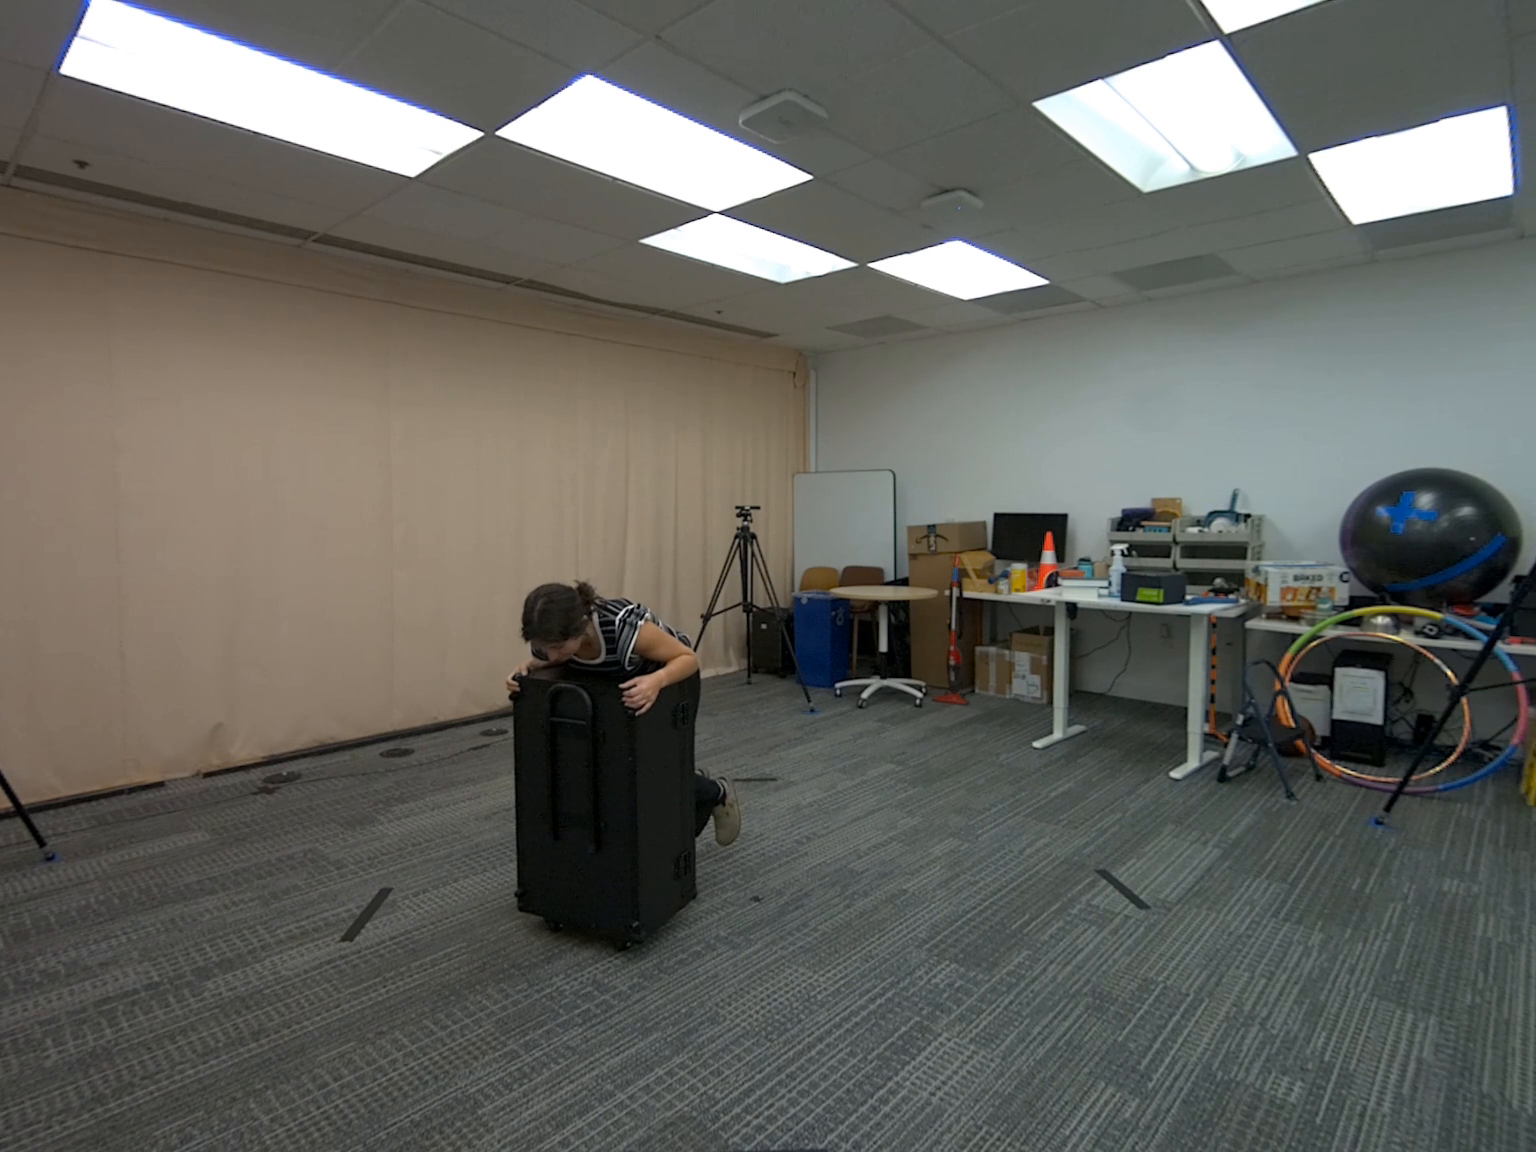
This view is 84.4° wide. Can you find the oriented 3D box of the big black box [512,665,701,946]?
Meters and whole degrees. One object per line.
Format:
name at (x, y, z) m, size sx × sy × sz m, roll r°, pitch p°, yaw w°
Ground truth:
big black box at (-0.533, 0.759, 2.777) m, size 0.535 × 0.860 × 0.386 m, roll 1°, pitch 3°, yaw 27°
